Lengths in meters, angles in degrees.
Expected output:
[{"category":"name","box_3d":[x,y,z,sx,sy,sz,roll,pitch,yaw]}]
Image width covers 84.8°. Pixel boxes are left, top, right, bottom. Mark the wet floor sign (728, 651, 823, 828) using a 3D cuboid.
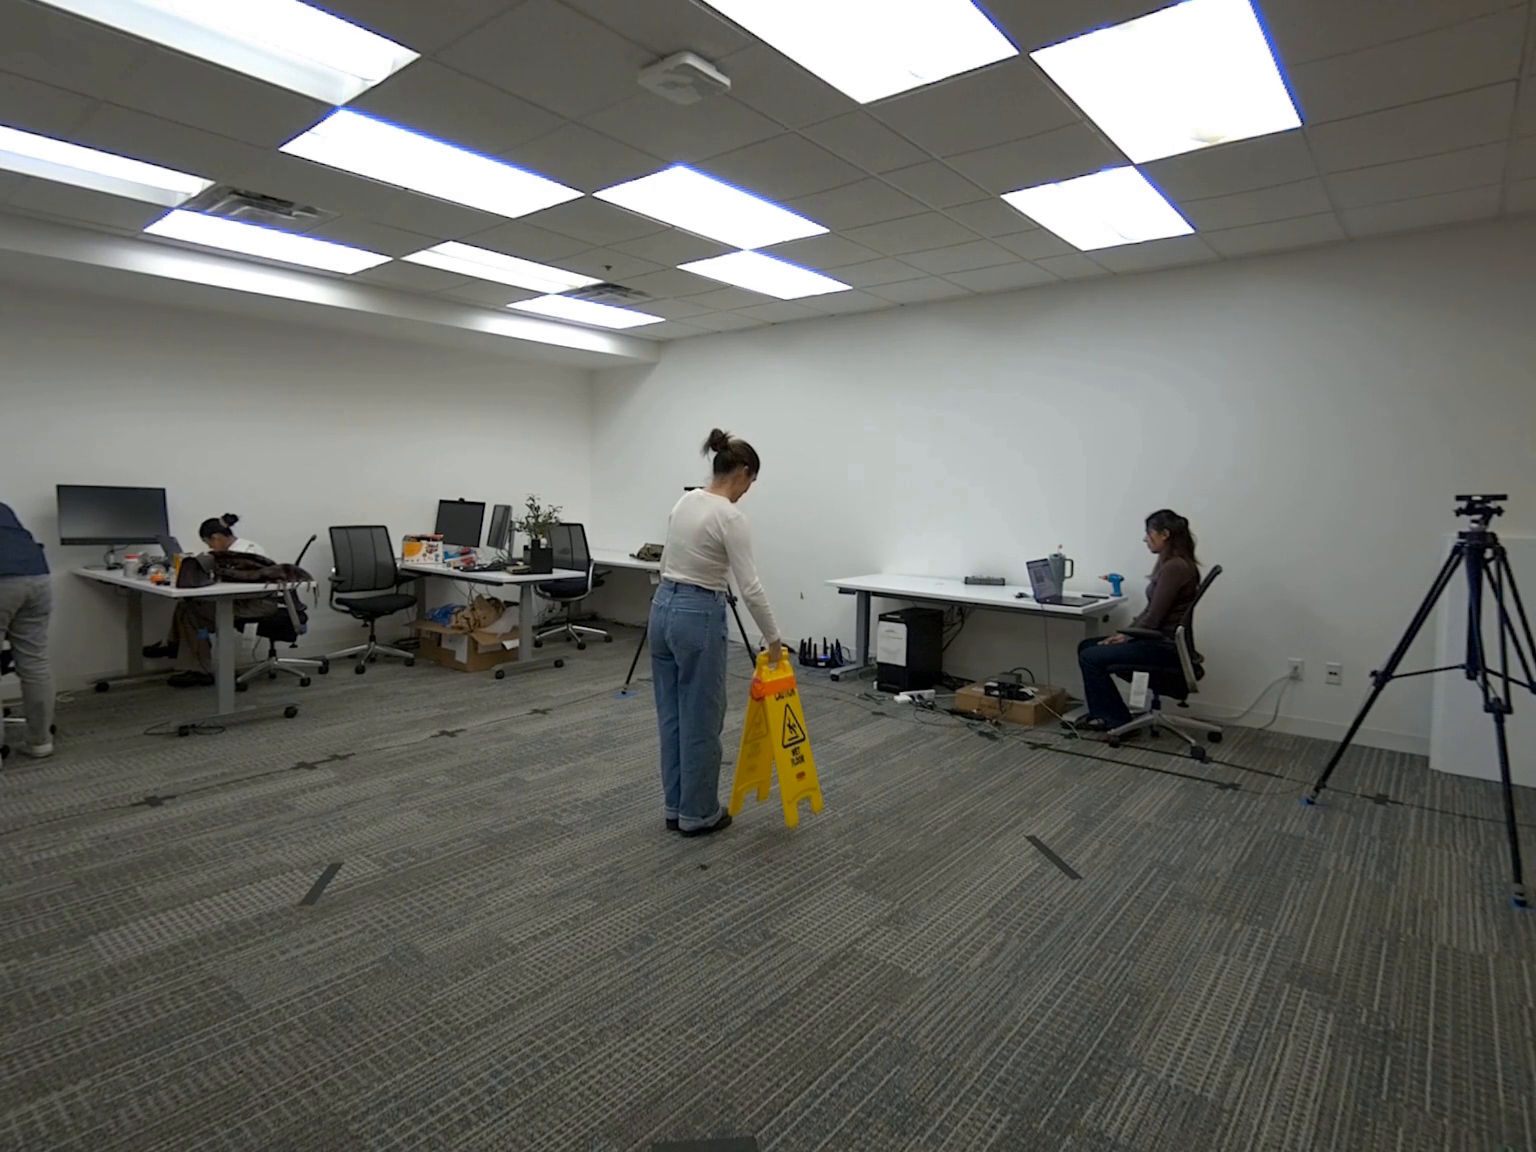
[{"category":"wet floor sign","box_3d":[0.021,0.616,3.385,0.298,0.646,0.274,-1,0,34]}]
